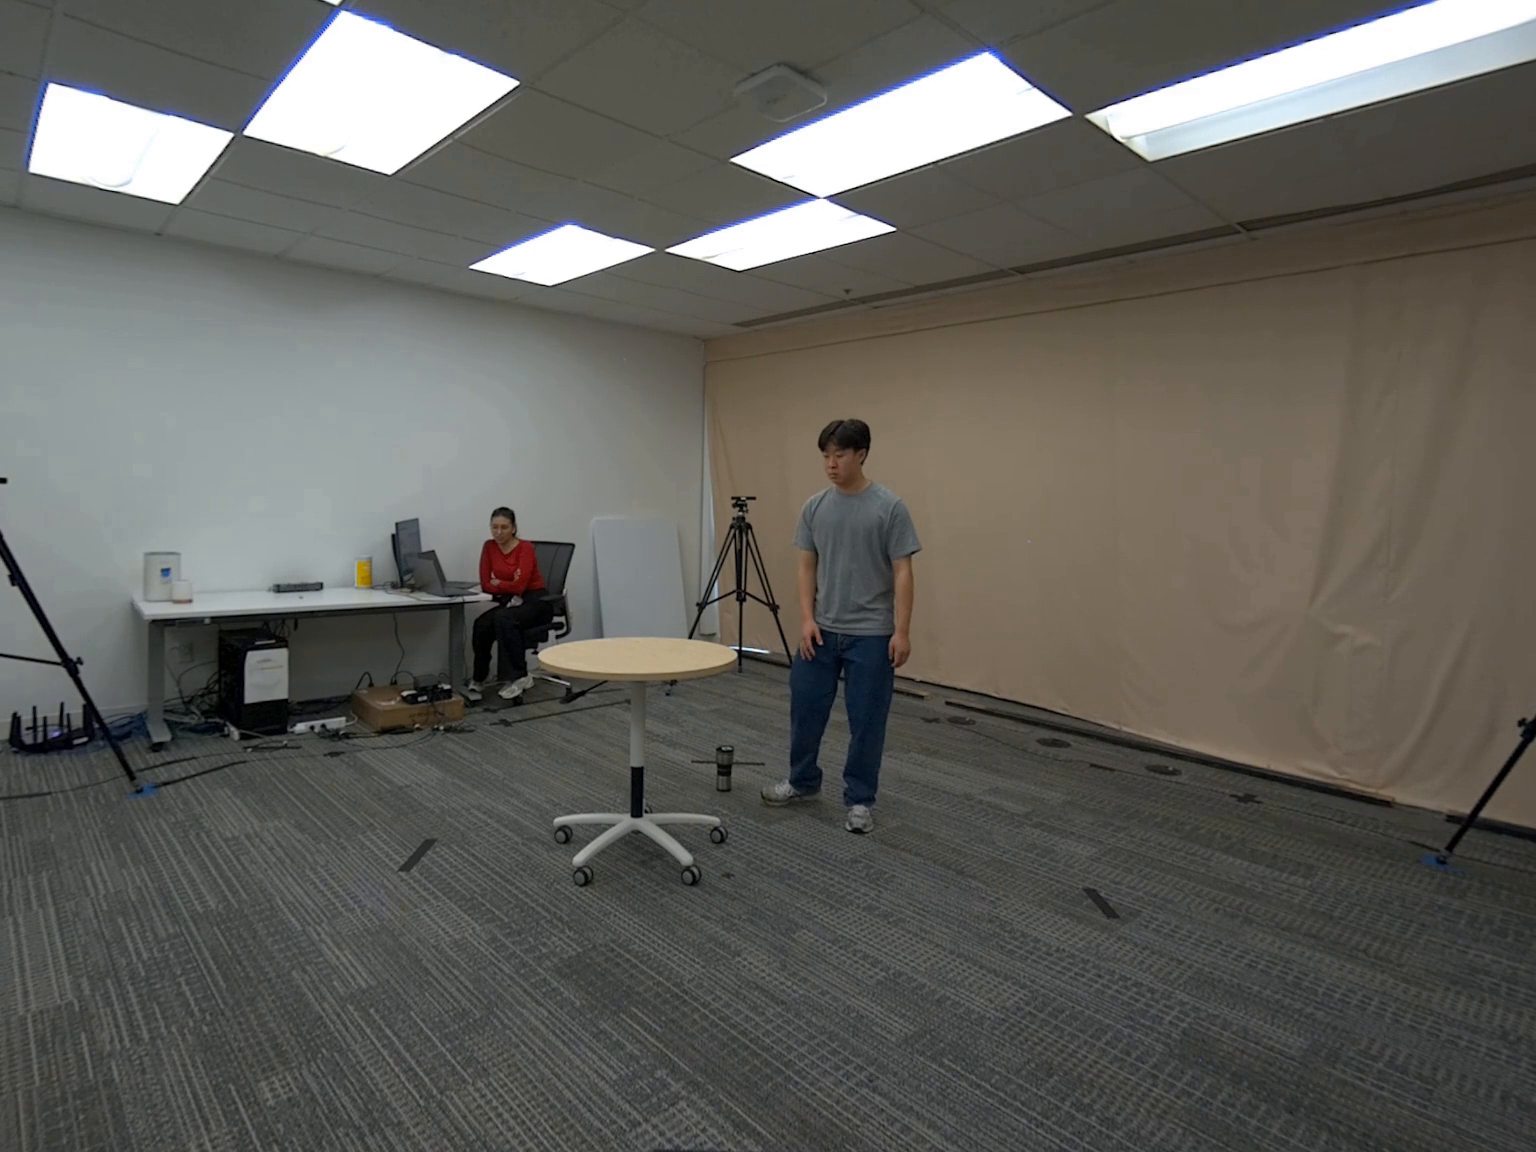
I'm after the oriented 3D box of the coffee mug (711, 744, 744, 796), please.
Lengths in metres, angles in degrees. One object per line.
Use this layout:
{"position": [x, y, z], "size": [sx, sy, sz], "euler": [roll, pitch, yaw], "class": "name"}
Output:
{"position": [-0.196, 0.923, 4.044], "size": [0.119, 0.202, 0.090], "euler": [-4, 3, -42], "class": "coffee mug"}
